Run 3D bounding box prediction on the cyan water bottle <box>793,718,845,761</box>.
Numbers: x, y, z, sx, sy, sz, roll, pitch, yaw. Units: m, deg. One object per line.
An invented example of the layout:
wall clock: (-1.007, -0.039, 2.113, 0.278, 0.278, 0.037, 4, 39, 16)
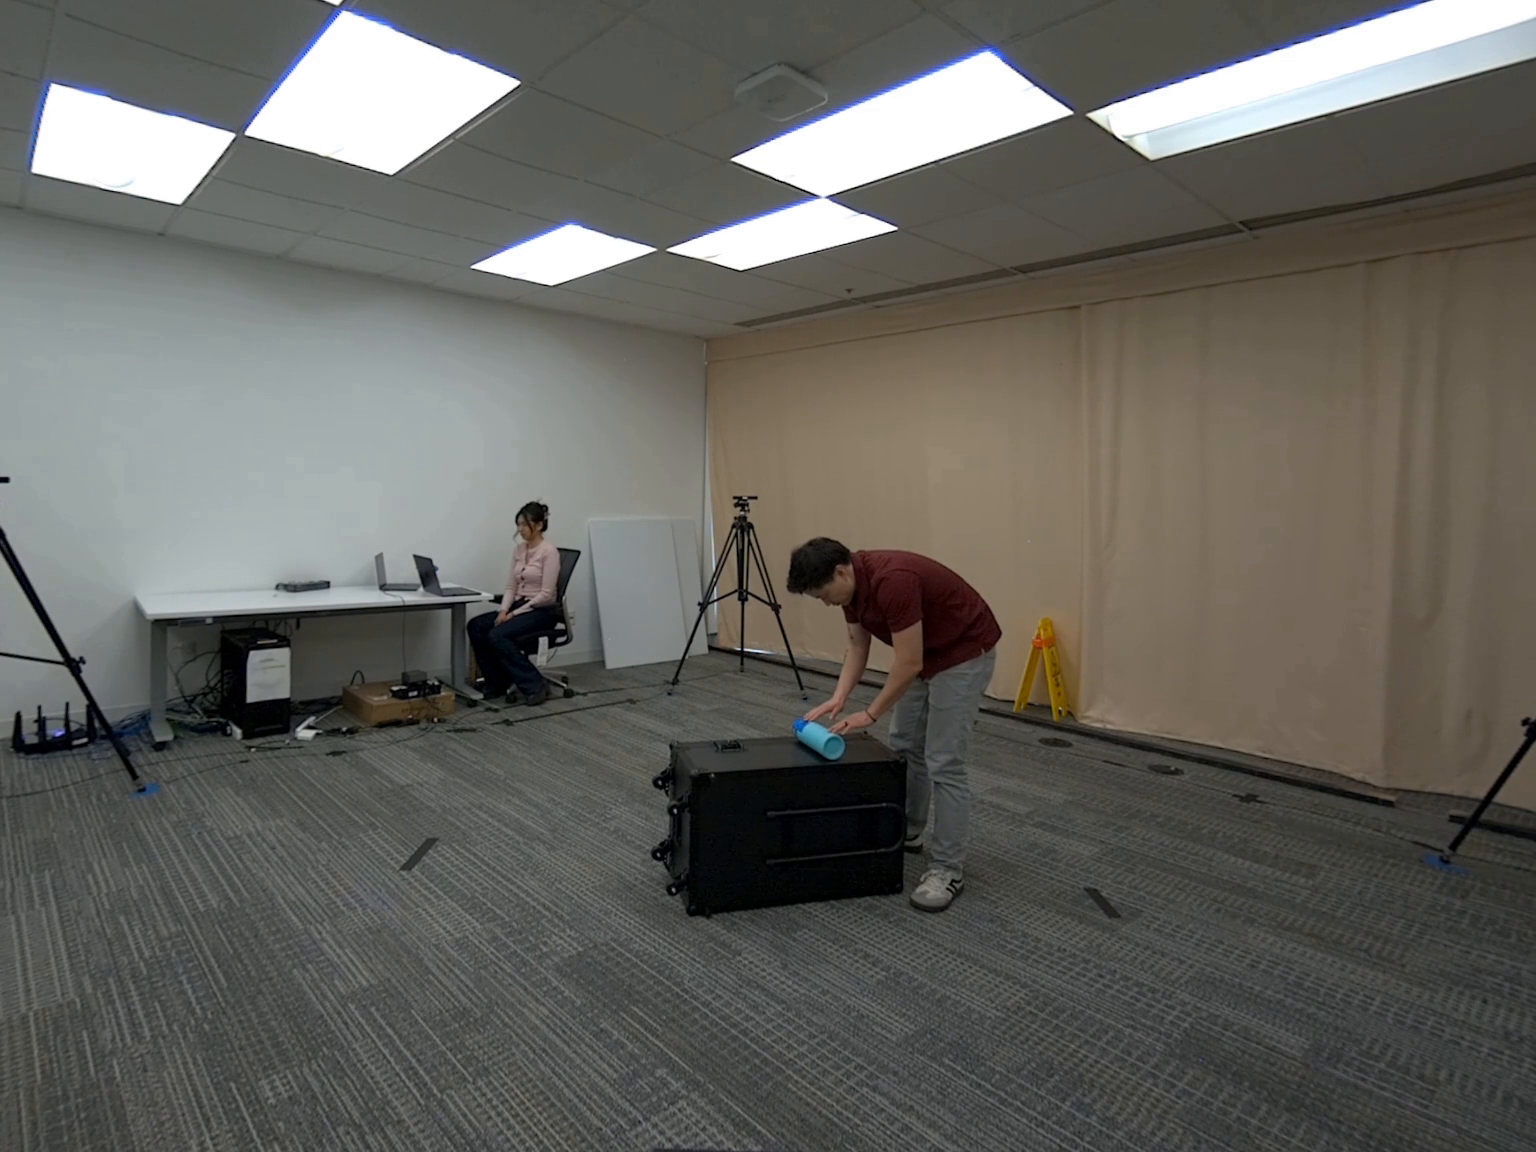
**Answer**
cyan water bottle: (0.173, 0.580, 3.060, 0.091, 0.092, 0.288, 0, 5, -22)
